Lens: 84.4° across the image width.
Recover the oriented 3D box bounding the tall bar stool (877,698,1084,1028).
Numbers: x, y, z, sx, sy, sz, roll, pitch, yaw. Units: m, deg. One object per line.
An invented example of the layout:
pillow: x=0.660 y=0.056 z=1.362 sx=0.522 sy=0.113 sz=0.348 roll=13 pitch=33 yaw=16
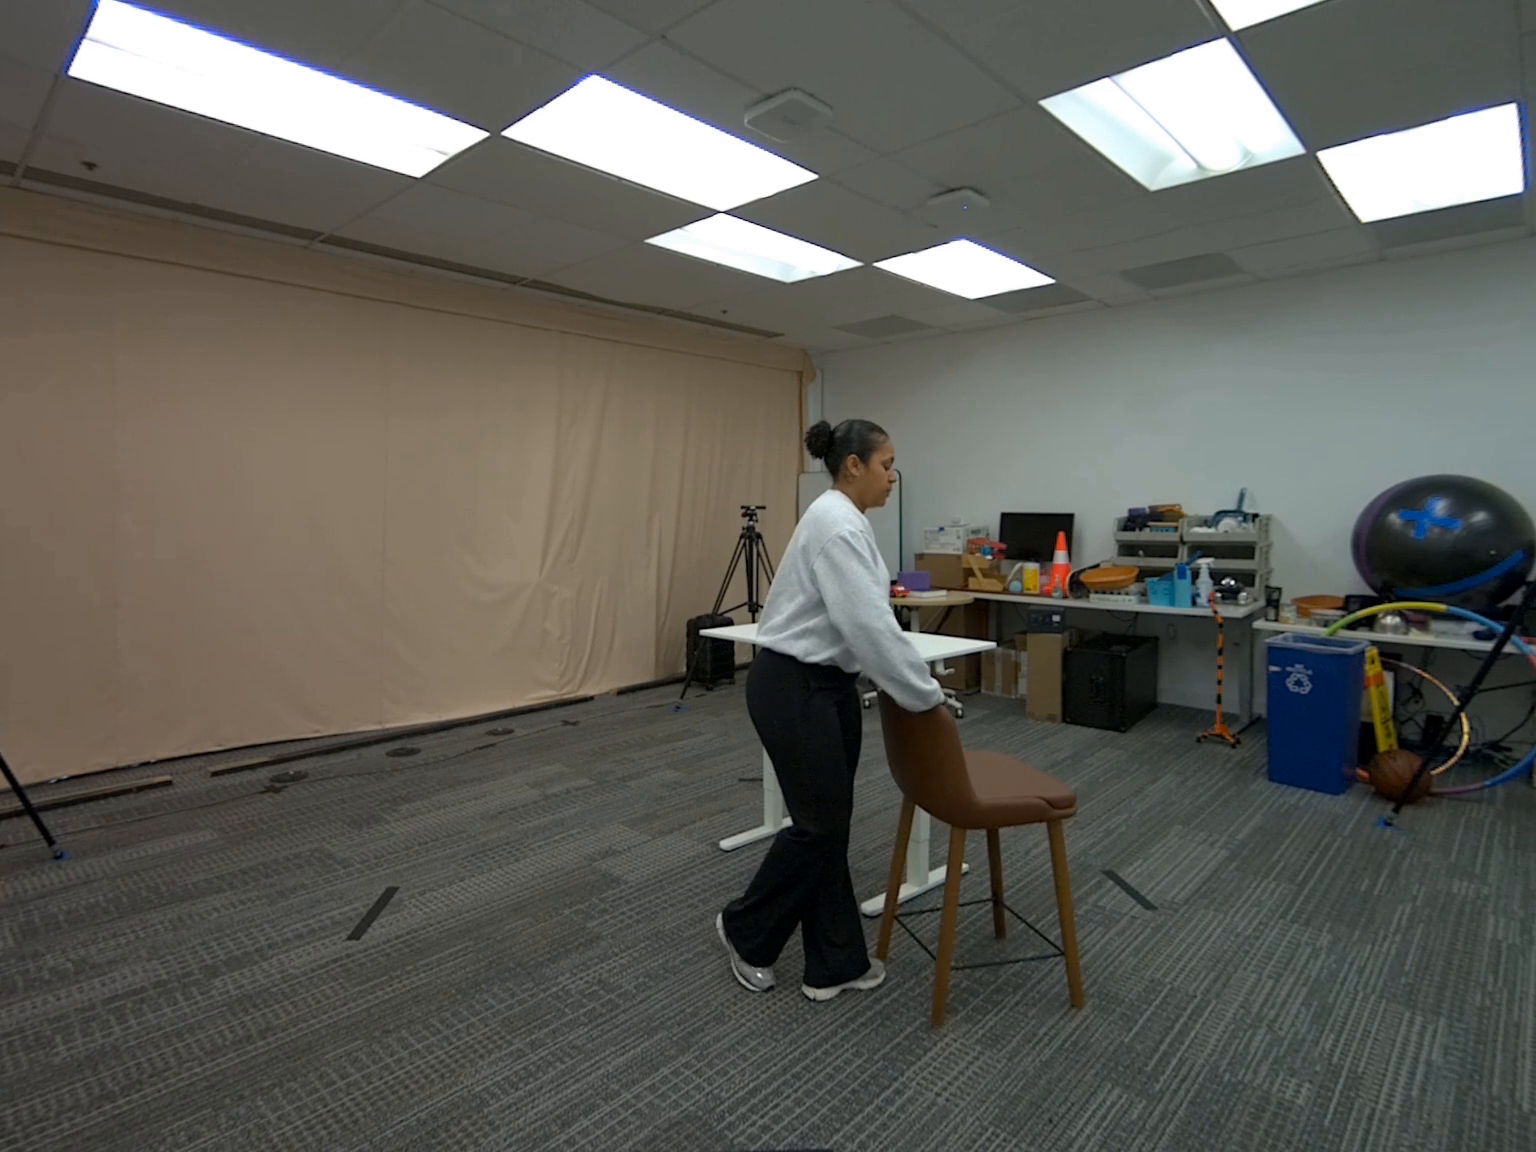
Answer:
tall bar stool: x=0.601 y=0.754 z=2.439 sx=0.460 sy=0.887 sz=0.465 roll=-4 pitch=5 yaw=-16
